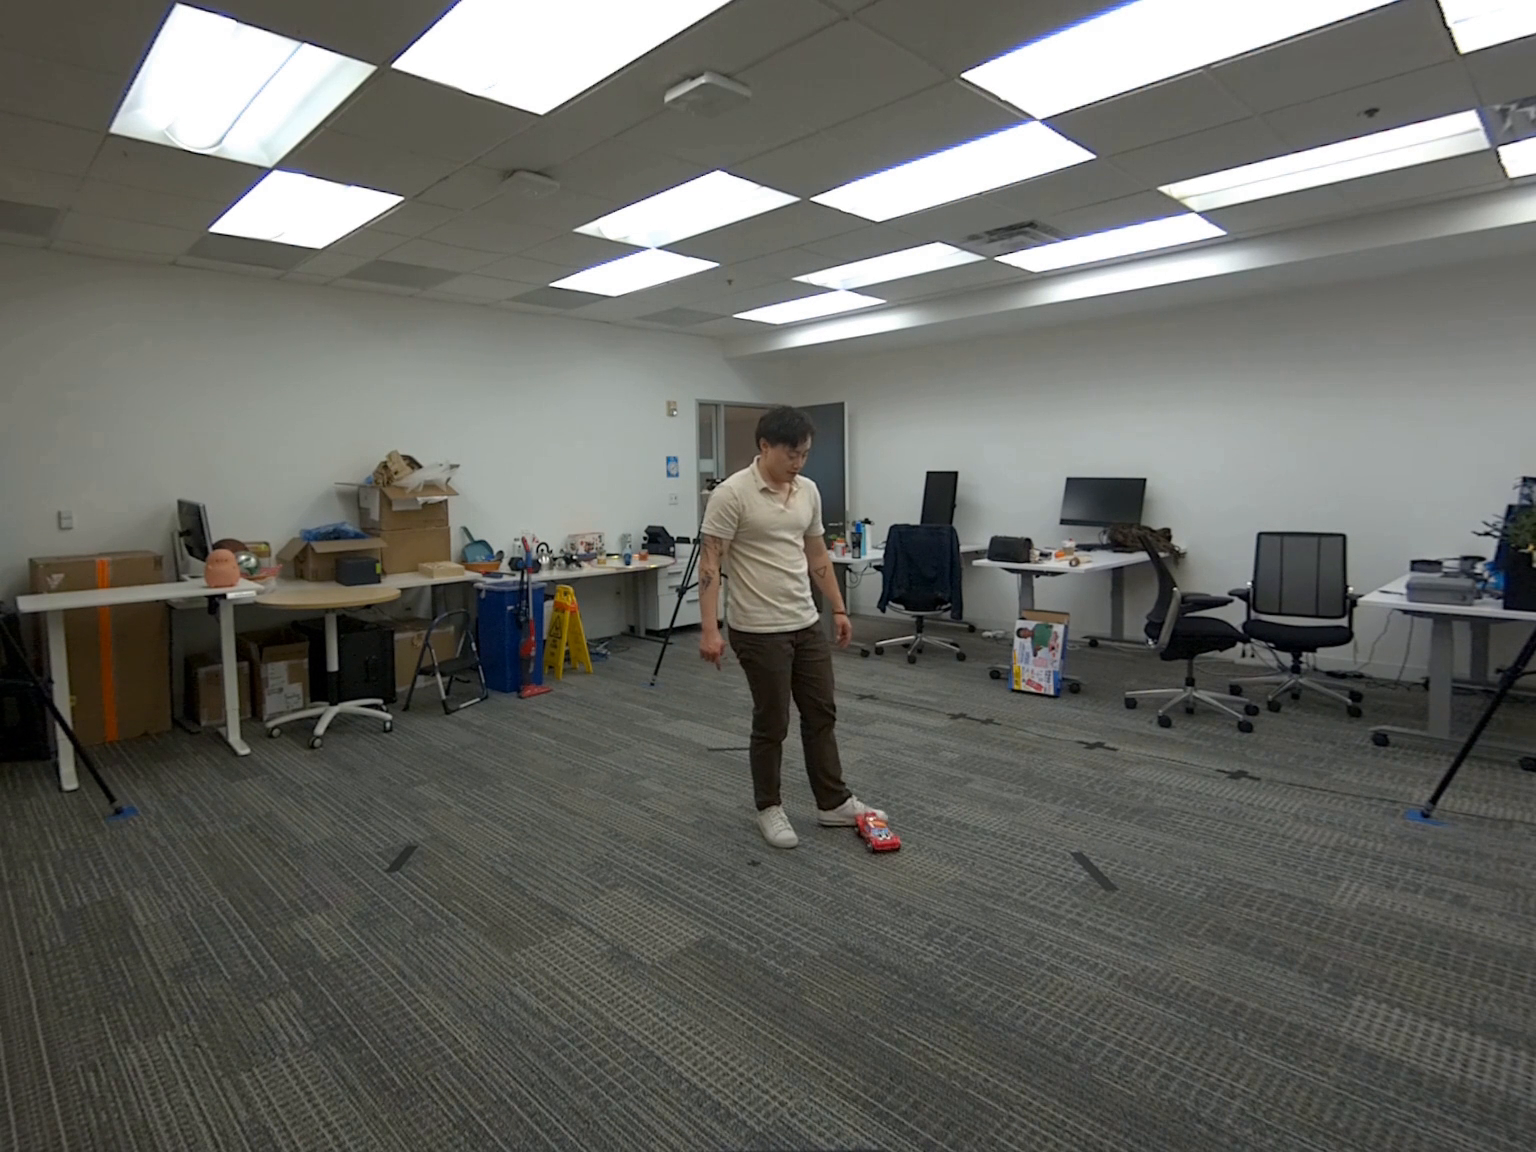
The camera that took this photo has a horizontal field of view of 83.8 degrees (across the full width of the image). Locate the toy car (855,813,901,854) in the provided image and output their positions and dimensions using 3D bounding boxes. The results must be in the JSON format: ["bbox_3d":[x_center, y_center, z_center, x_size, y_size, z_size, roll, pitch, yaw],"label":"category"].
[{"bbox_3d":[0.415,0.987,3.275,0.129,0.082,0.260,-1,15,-10],"label":"toy car"}]
